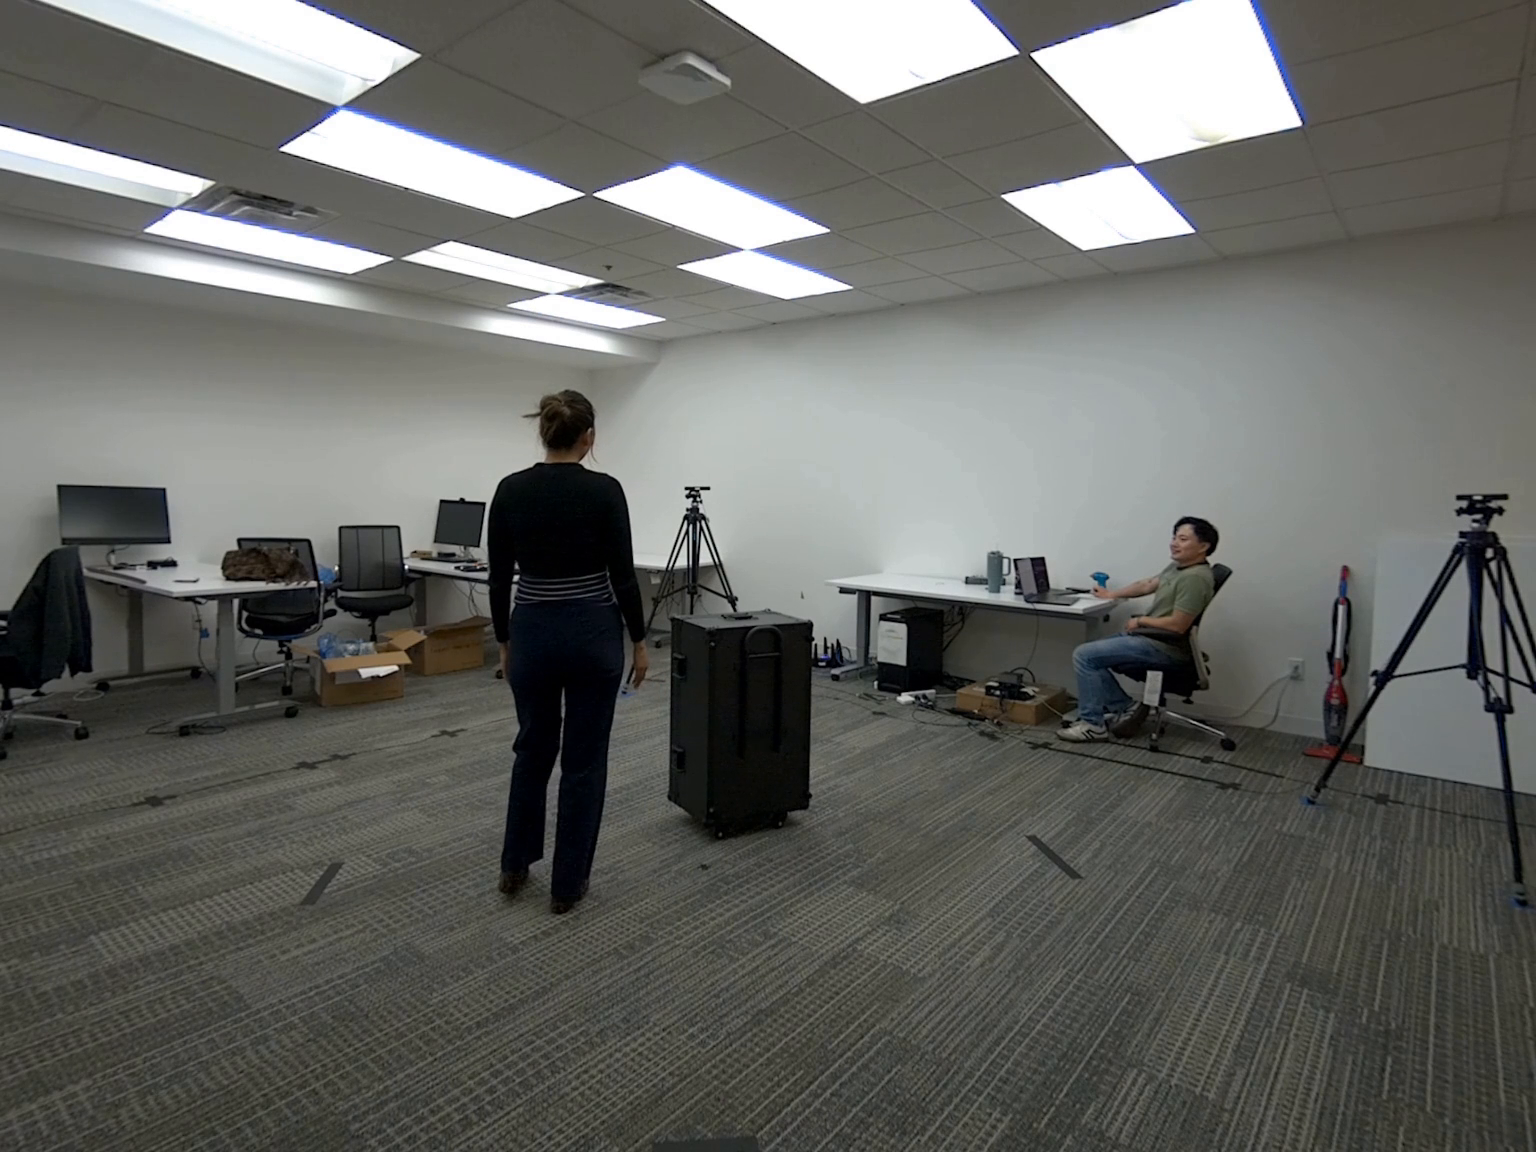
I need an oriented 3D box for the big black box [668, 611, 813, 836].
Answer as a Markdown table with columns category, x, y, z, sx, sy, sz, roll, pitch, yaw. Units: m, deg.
| category | x | y | z | sx | sy | sz | roll | pitch | yaw |
| --- | --- | --- | --- | --- | --- | --- | --- | --- | --- |
| big black box | -0.119 | 0.595 | 3.537 | 0.507 | 0.859 | 0.408 | 0 | 4 | -30 |
